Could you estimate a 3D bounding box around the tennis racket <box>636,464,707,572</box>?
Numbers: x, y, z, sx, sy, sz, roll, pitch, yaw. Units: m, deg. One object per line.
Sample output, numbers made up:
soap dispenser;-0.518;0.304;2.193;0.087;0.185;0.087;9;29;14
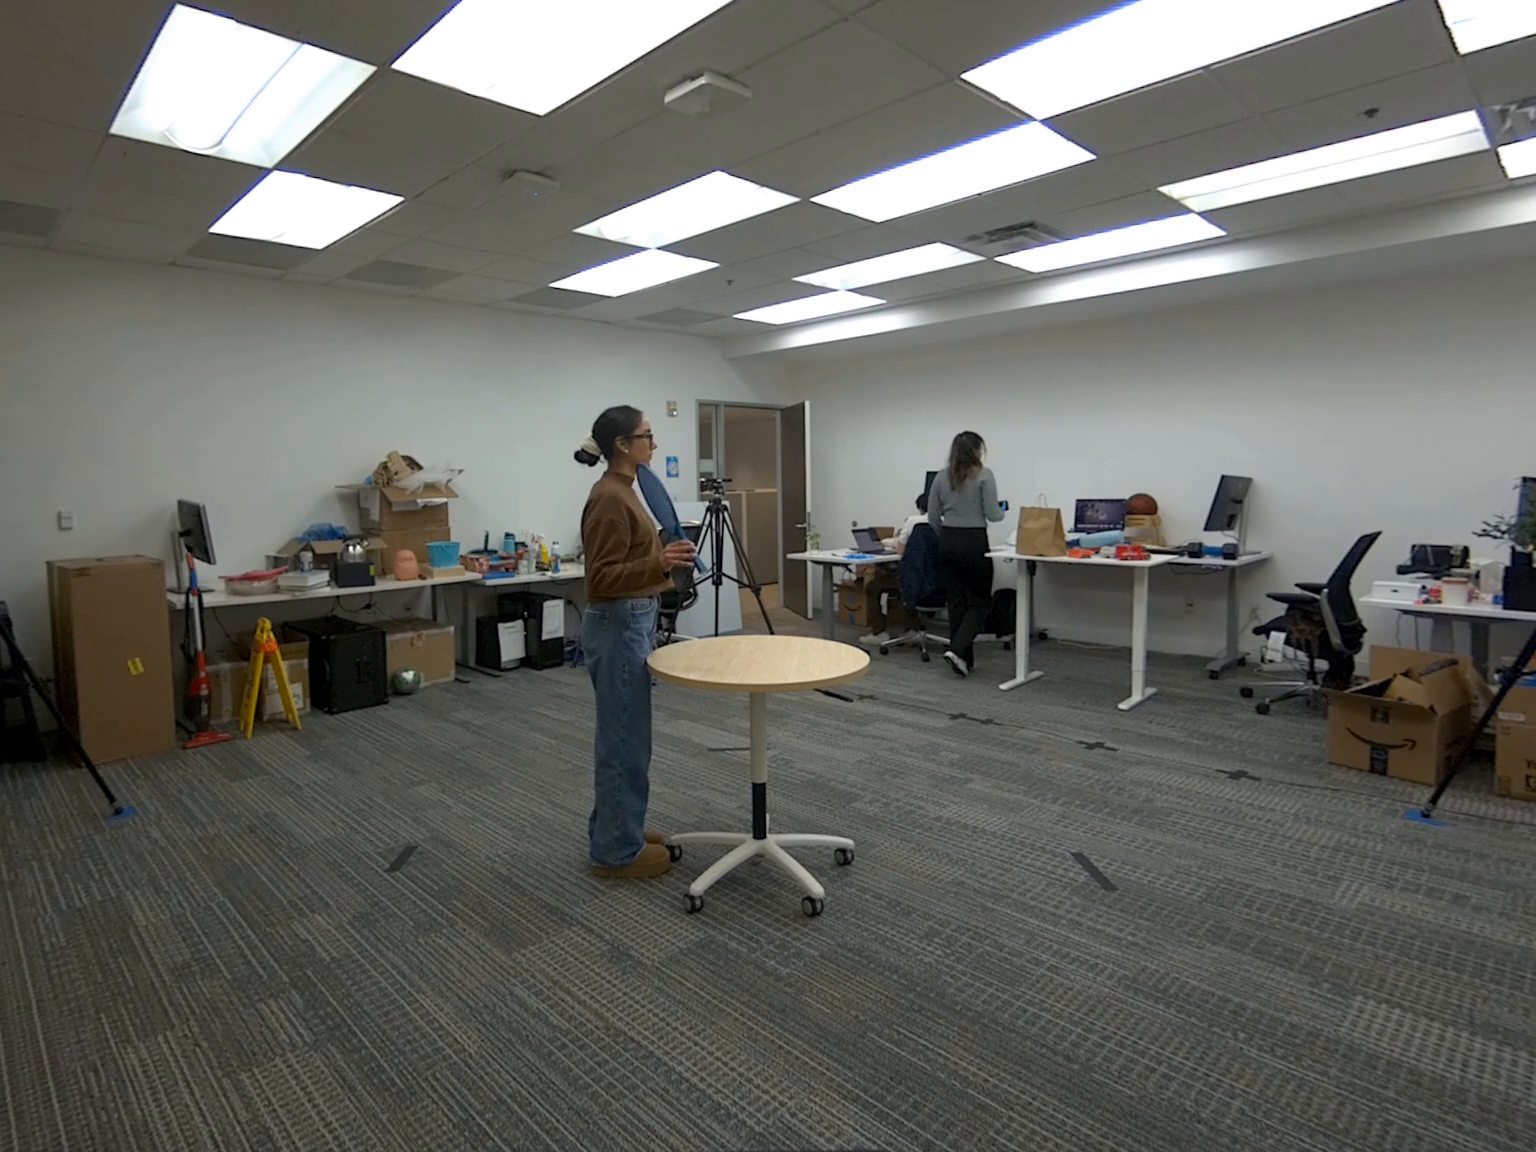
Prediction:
tennis racket;-0.320;-0.186;2.769;0.031;0.442;0.211;-25;-18;-22
